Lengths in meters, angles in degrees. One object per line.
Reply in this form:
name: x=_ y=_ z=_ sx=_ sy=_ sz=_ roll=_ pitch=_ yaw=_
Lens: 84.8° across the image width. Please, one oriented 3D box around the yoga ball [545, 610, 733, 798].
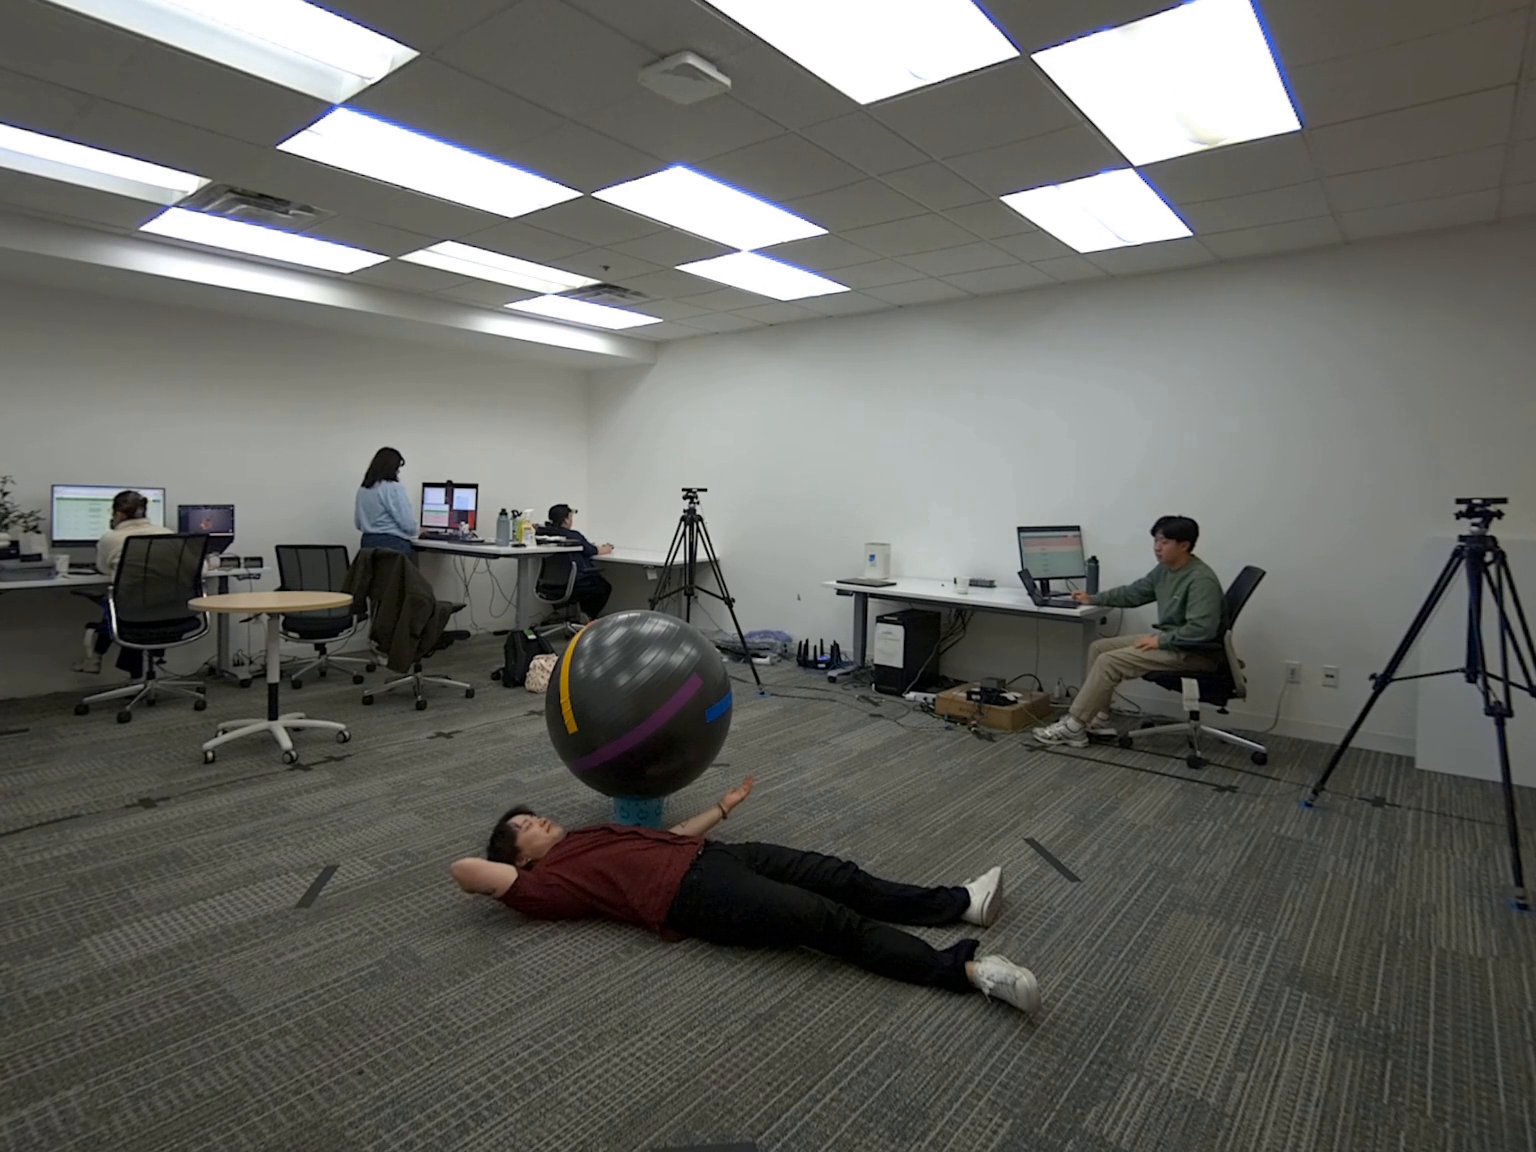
yoga ball: x=-0.530 y=0.519 z=3.470 sx=0.757 sy=0.755 sz=0.762 roll=1 pitch=4 yaw=-2
